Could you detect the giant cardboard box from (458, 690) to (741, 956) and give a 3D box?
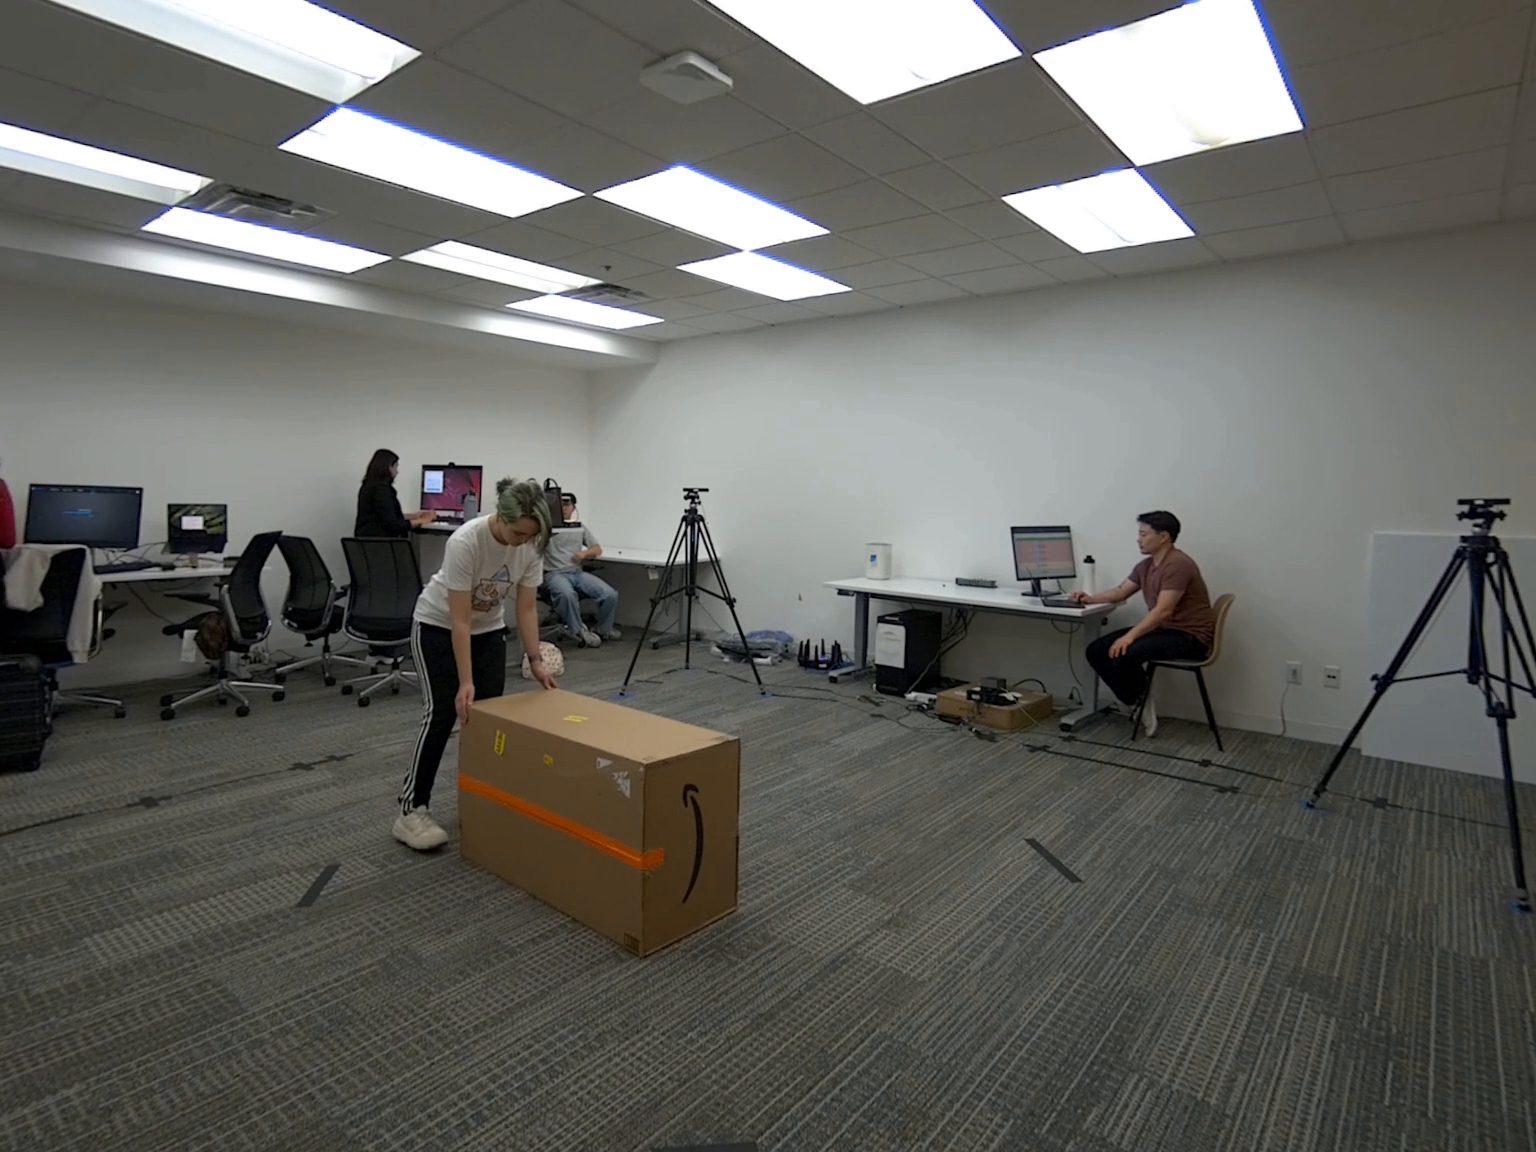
[{"bbox_3d":[-0.634,0.787,2.983,1.062,0.582,0.434,4,6,40],"label":"giant cardboard box"}]
